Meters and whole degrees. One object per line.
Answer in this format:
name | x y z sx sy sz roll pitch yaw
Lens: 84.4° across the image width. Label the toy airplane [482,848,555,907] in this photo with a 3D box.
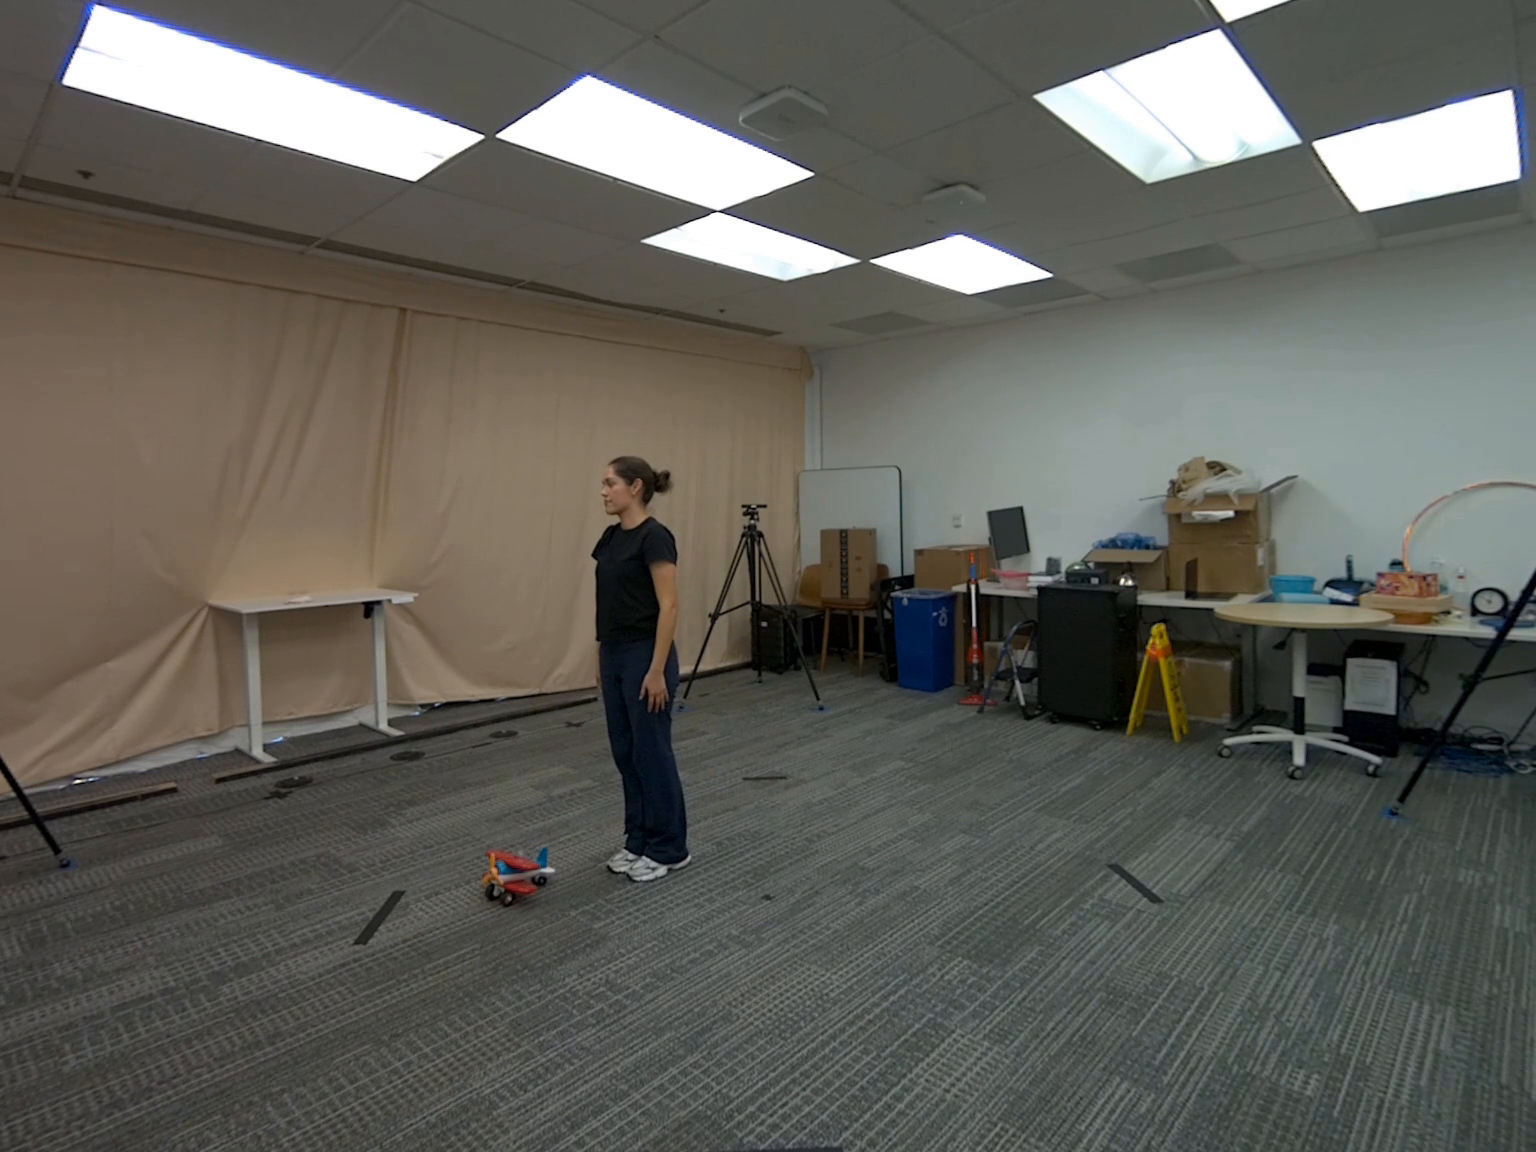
toy airplane | -0.913 1.082 3.063 0.253 0.156 0.257 -1 5 8
